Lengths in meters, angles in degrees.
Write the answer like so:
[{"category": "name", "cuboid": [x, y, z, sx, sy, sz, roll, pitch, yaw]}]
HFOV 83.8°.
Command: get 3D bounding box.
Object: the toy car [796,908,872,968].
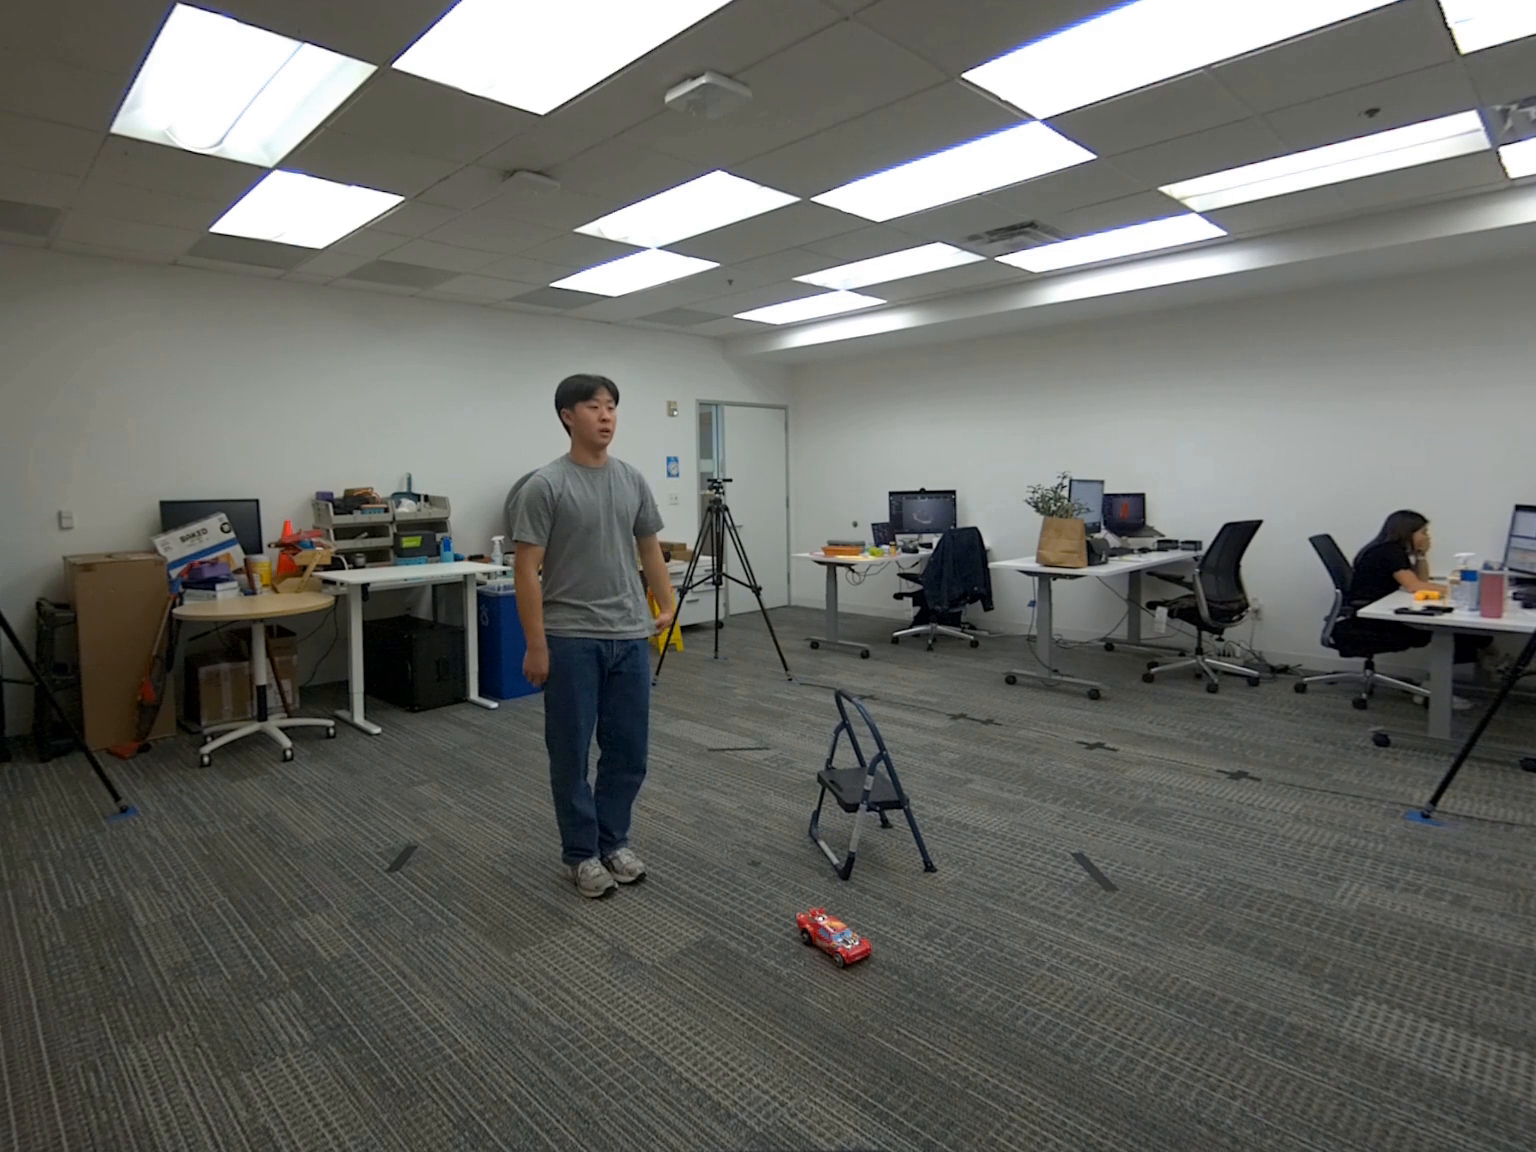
[{"category": "toy car", "cuboid": [0.196, 1.075, 2.541, 0.127, 0.082, 0.264, -6, 19, -34]}]
